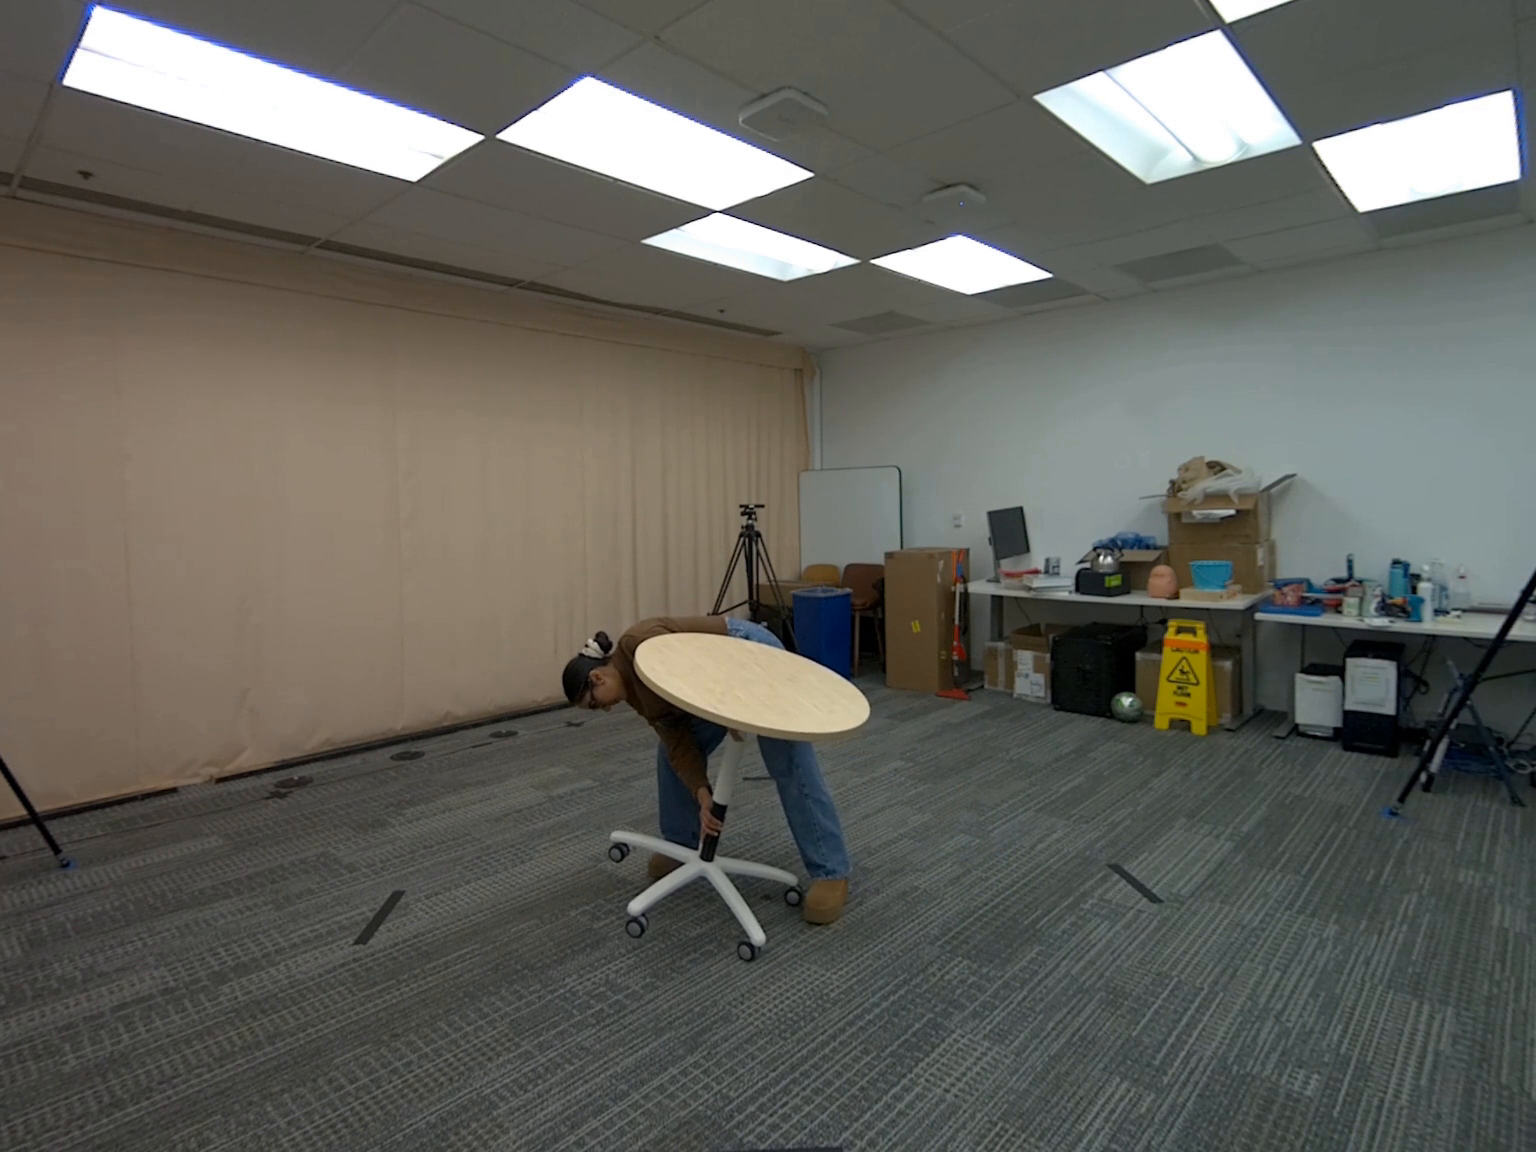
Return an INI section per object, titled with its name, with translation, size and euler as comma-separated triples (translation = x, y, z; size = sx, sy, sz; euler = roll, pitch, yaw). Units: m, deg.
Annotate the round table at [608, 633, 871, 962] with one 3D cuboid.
[round table]
translation = -0.143, 0.707, 2.767
size = 0.761, 0.791, 0.770
euler = 13, 11, -5
